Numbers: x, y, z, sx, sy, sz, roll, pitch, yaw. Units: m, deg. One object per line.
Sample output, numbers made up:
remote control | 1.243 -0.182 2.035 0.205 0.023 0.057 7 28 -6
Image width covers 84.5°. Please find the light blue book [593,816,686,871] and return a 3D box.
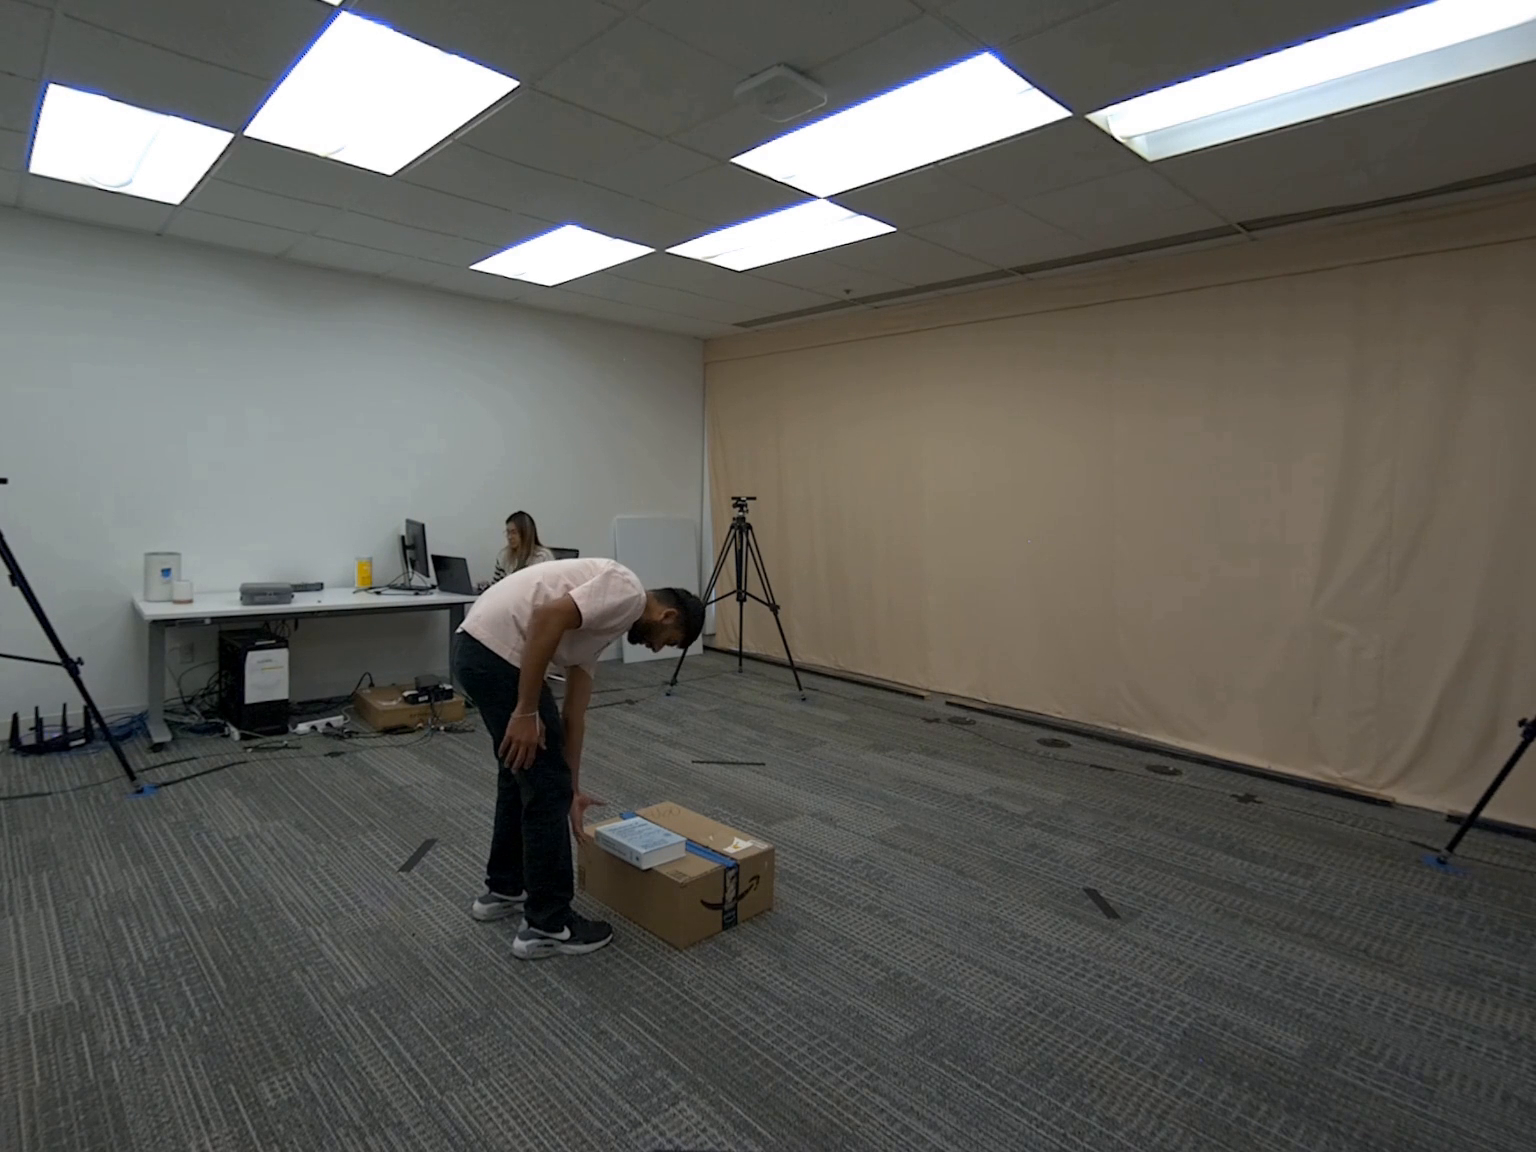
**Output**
light blue book | -0.431 0.885 2.799 0.268 0.059 0.187 6 4 45
